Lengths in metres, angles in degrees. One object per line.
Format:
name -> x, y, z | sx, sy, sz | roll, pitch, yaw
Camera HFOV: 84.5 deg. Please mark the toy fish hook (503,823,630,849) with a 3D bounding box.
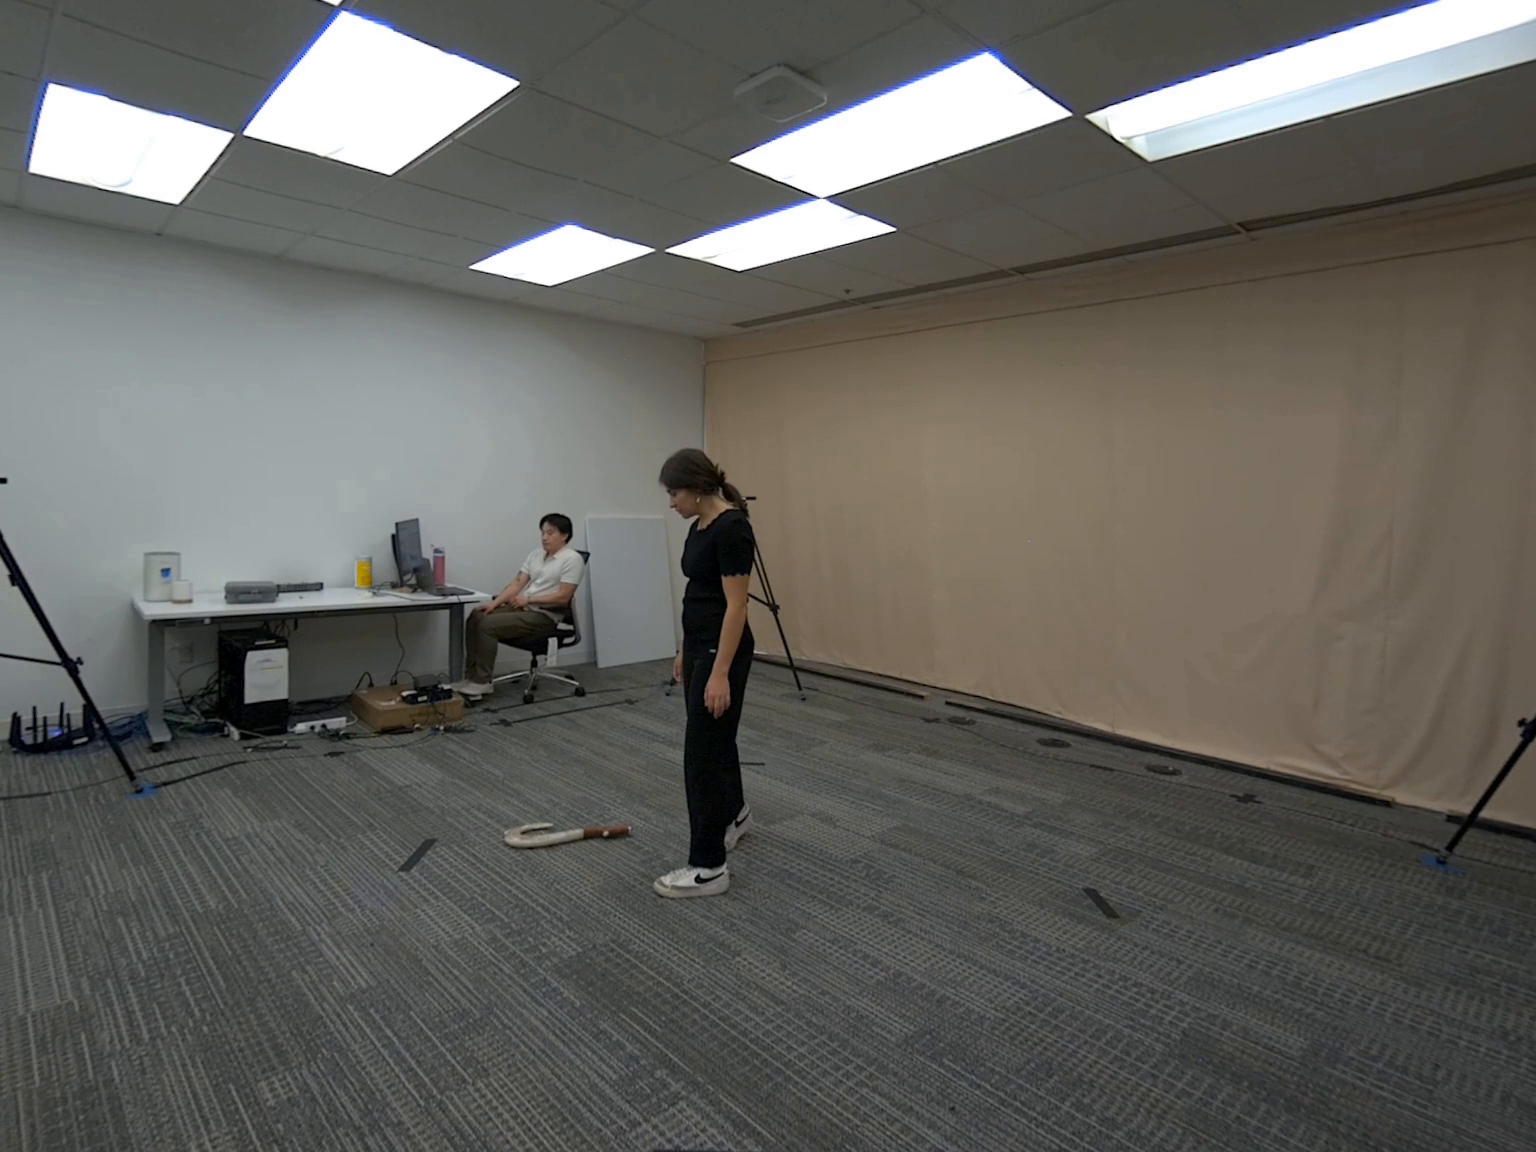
toy fish hook -> -0.822, 1.037, 3.434 | 0.500, 0.048, 0.228 | 0, 6, -16
